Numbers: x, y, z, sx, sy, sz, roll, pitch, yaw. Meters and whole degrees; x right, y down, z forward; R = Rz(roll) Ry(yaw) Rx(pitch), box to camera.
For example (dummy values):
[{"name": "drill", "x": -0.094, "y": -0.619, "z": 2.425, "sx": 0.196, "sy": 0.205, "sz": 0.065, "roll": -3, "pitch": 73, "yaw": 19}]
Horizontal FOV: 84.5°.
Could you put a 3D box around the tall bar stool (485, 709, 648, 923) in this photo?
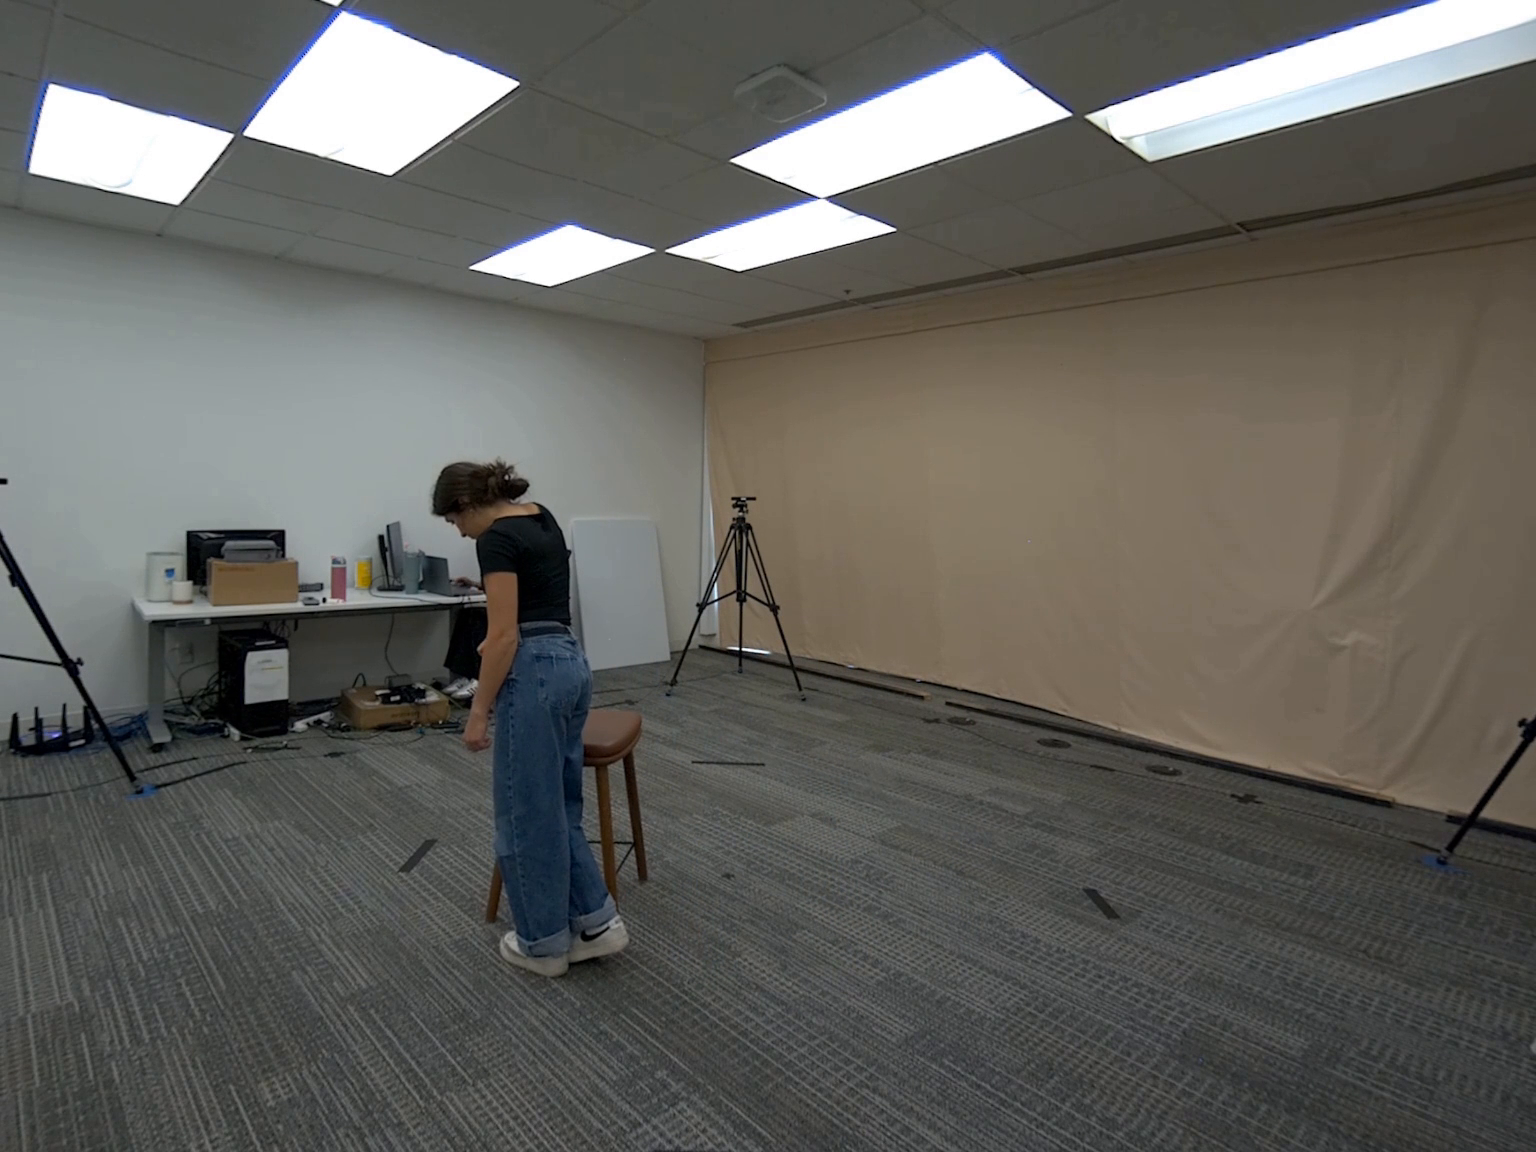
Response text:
[{"name": "tall bar stool", "x": -0.686, "y": 0.682, "z": 2.869, "sx": 0.470, "sy": 0.887, "sz": 0.455, "roll": 0, "pitch": 4, "yaw": 7}]
